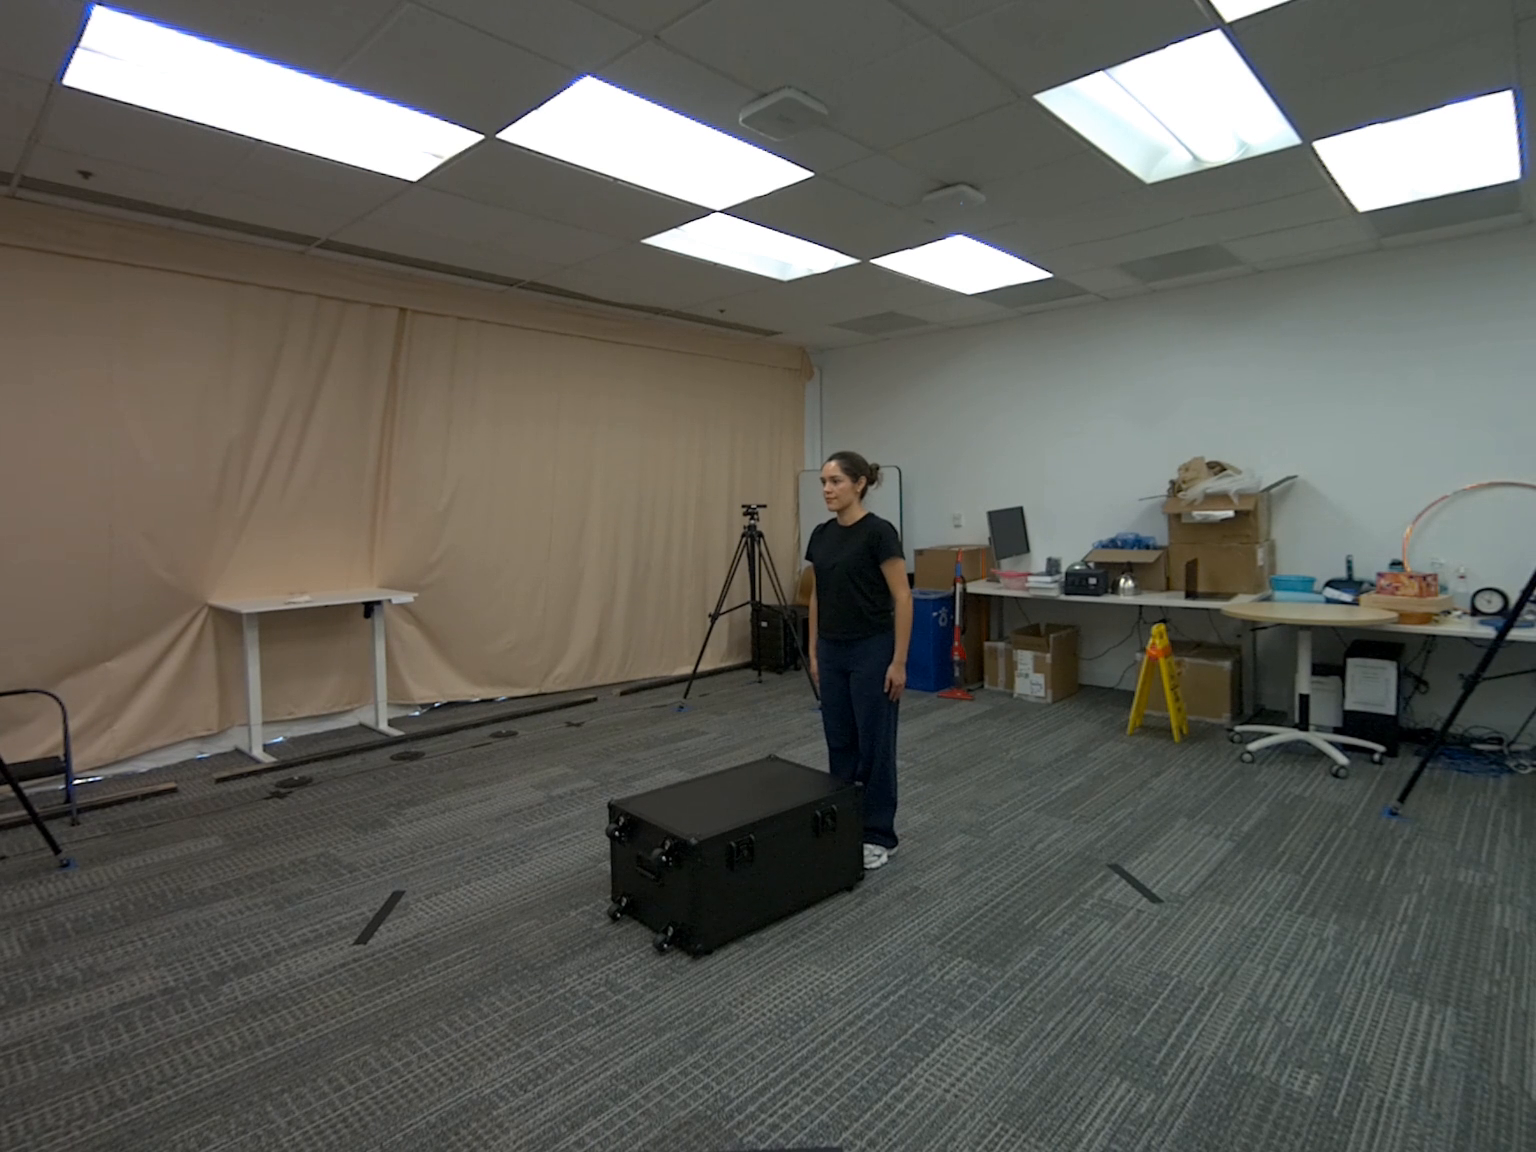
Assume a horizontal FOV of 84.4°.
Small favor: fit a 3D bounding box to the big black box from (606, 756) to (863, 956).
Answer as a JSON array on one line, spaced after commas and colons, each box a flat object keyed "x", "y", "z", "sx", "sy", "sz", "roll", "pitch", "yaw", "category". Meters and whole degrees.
[{"x": -0.069, "y": 0.951, "z": 2.999, "sx": 0.836, "sy": 0.395, "sz": 0.538, "roll": -6, "pitch": 6, "yaw": -41, "category": "big black box"}]
